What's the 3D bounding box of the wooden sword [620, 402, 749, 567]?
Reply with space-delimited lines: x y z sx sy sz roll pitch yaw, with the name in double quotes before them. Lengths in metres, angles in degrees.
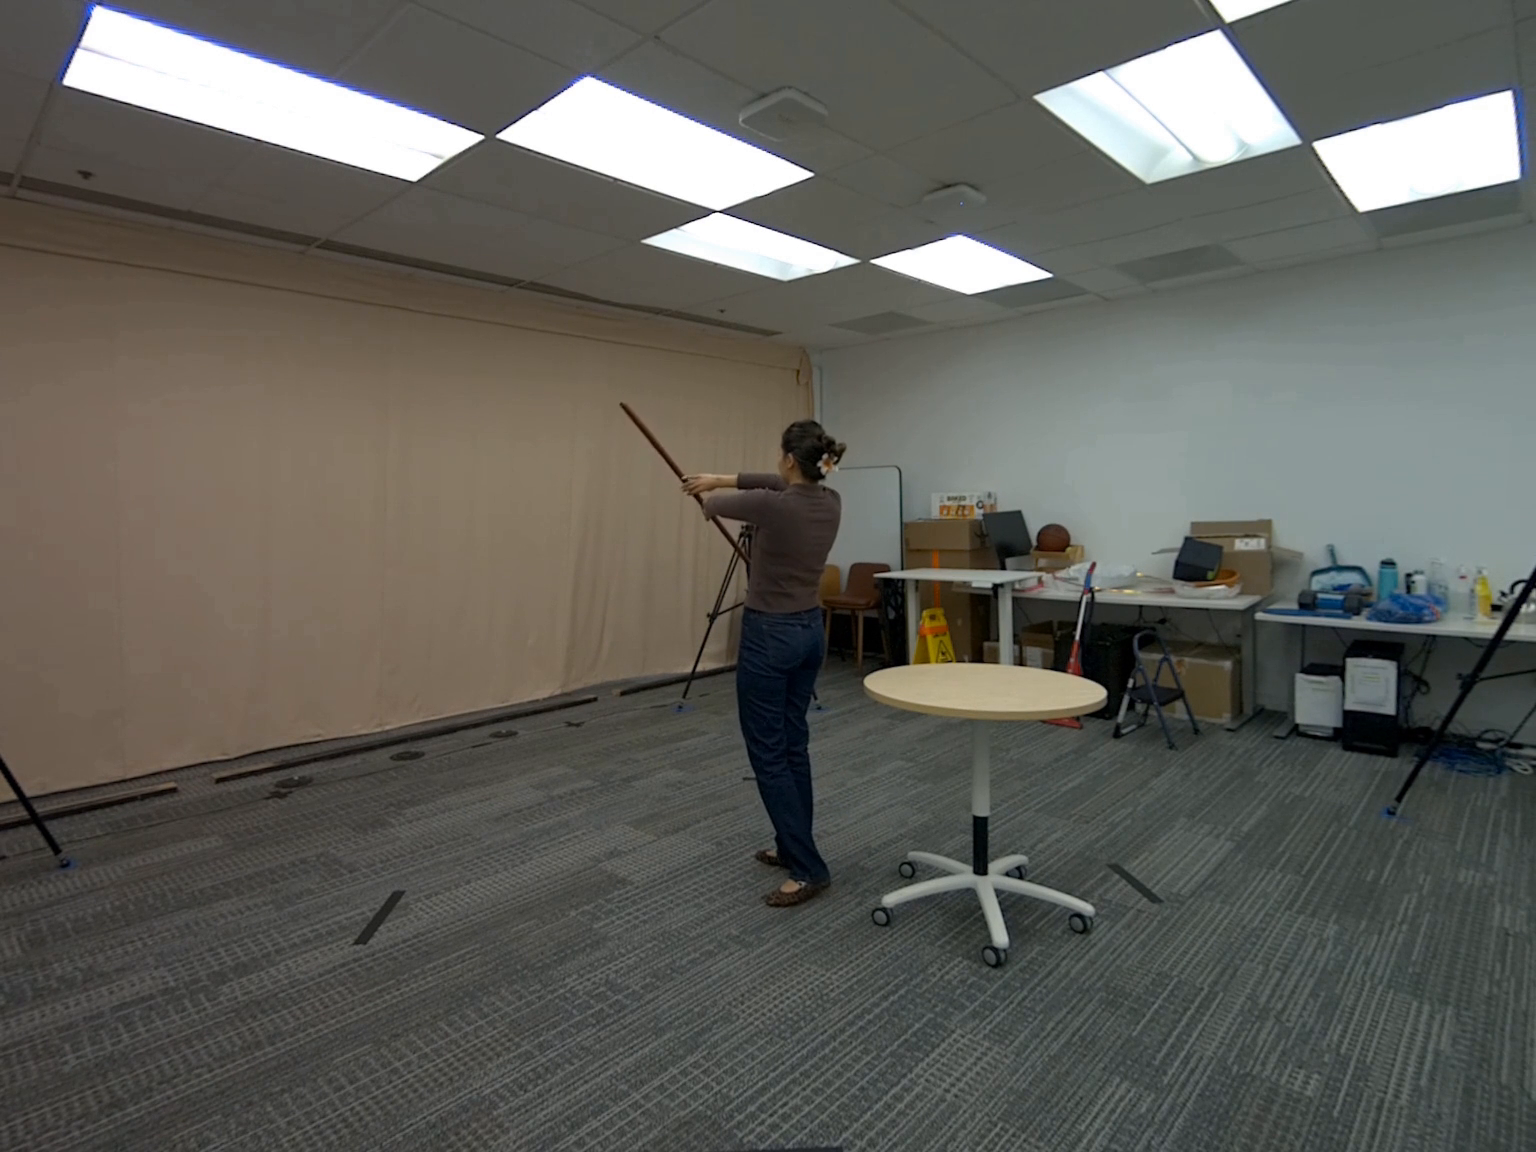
"wooden sword" -0.285 -0.317 3.542 0.024 1.013 0.052 -44 12 -37
